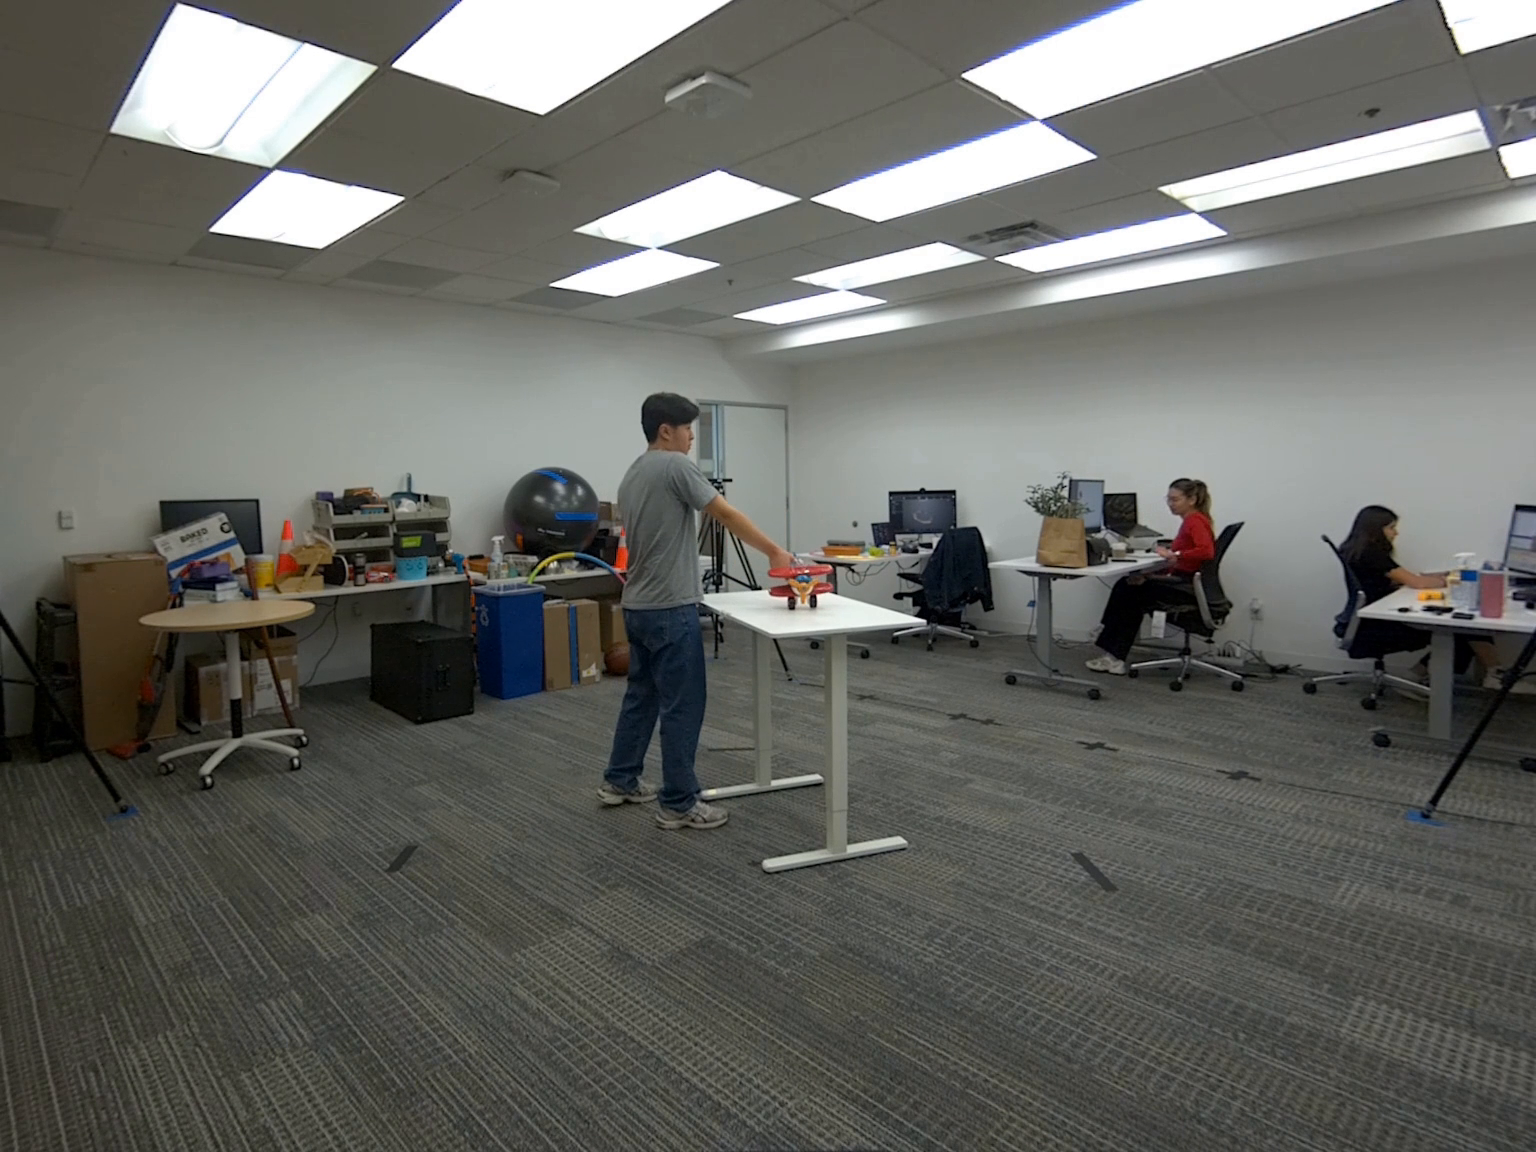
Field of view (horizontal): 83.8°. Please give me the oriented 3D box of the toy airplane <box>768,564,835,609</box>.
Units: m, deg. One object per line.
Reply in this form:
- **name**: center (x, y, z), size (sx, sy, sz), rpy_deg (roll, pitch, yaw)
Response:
- **toy airplane**: center (0.109, 0.016, 3.400), size (0.247, 0.152, 0.269), rpy_deg (-21, 37, -26)
